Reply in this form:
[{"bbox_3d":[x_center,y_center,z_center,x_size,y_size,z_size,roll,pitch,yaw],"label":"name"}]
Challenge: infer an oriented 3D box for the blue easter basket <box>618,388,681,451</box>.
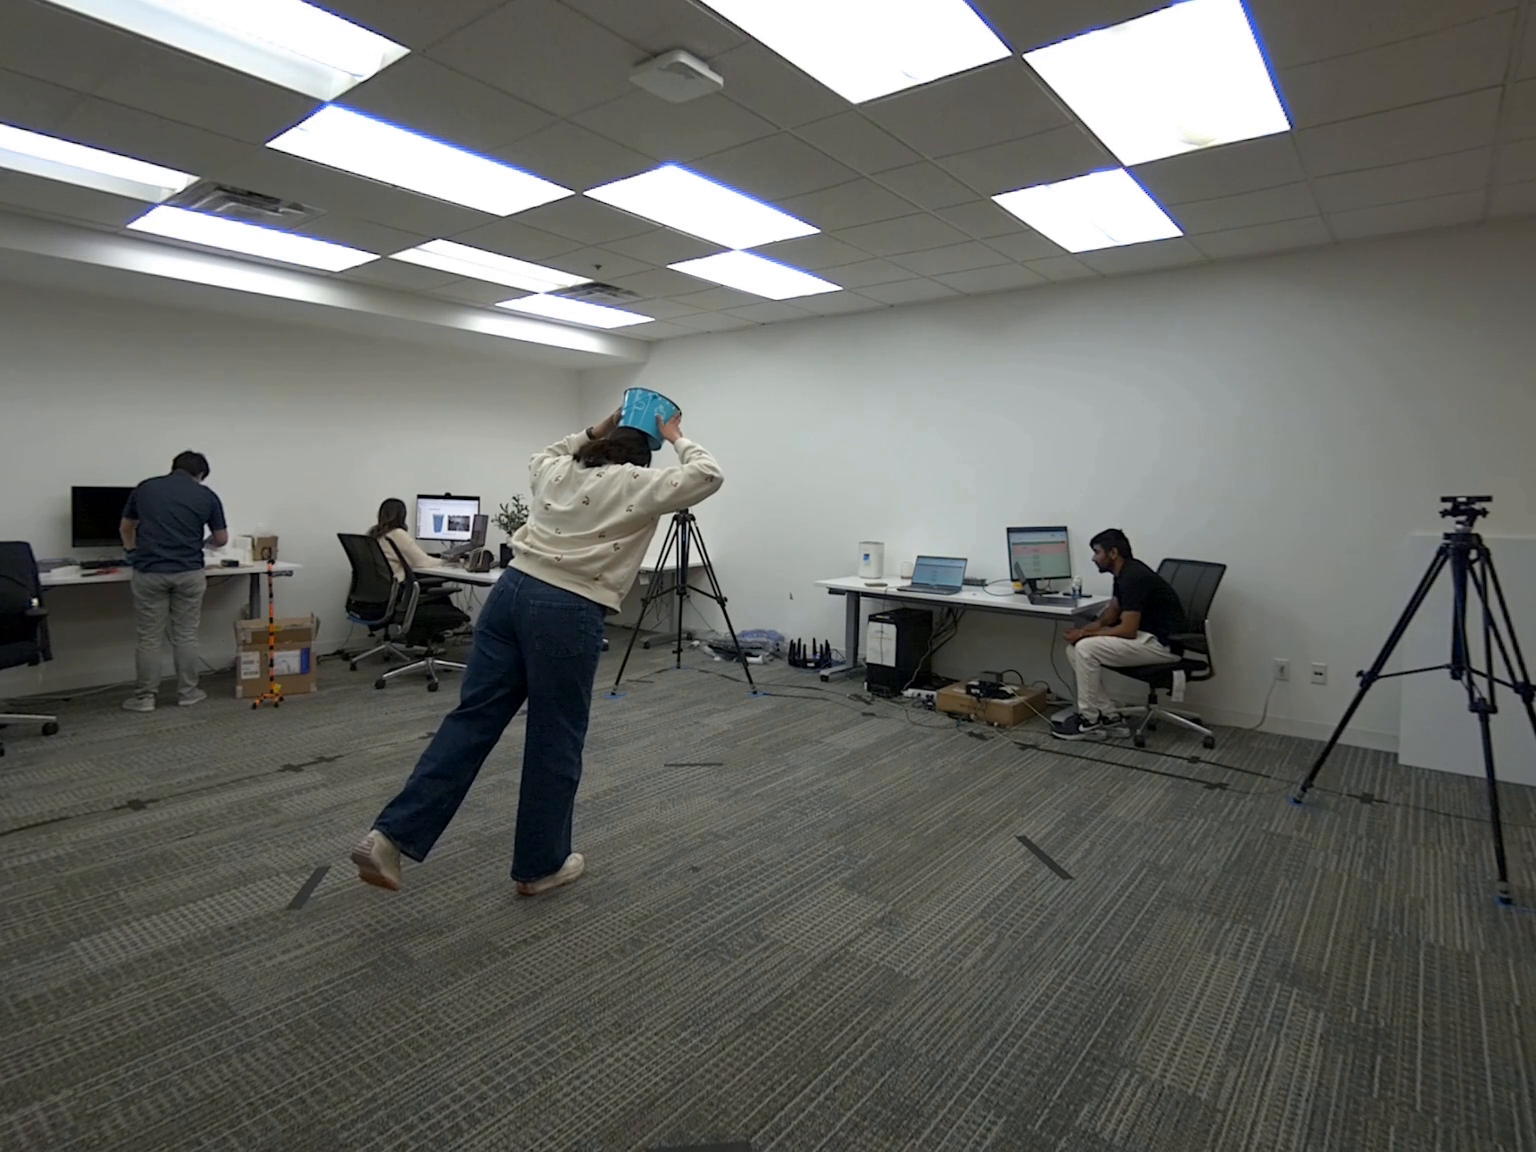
[{"bbox_3d":[-0.477,-0.590,3.202,0.245,0.157,0.240,20,-15,4],"label":"blue easter basket"}]
